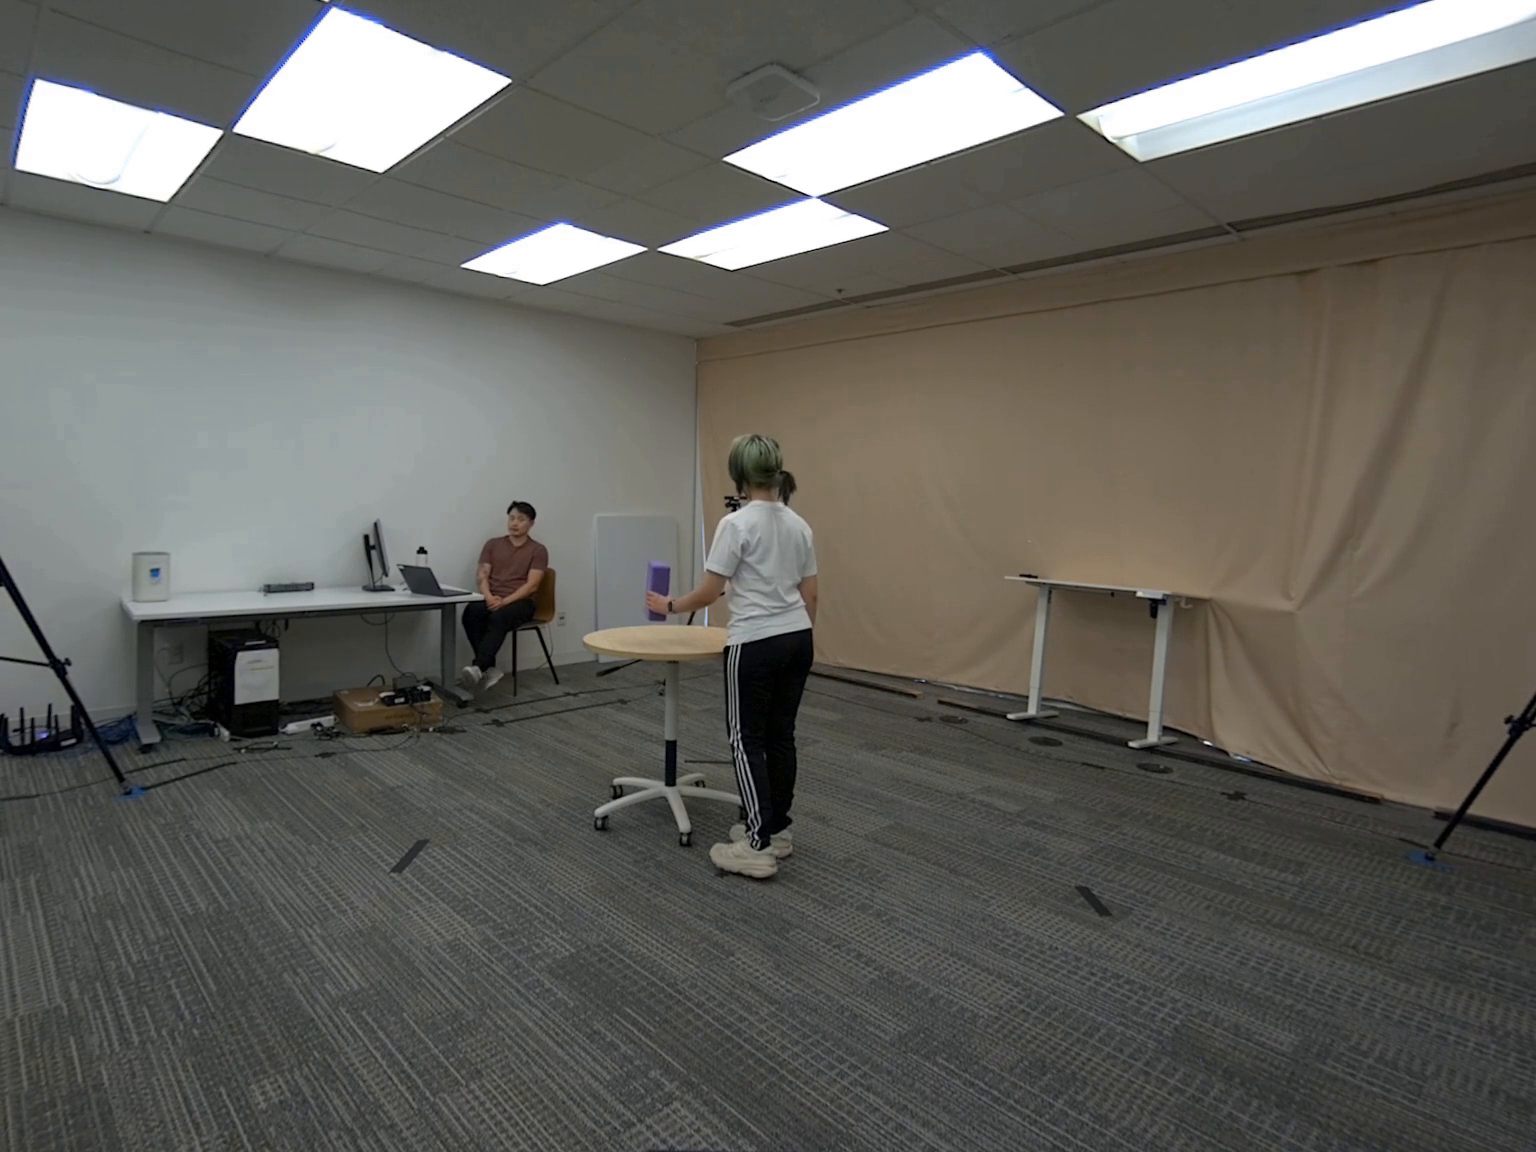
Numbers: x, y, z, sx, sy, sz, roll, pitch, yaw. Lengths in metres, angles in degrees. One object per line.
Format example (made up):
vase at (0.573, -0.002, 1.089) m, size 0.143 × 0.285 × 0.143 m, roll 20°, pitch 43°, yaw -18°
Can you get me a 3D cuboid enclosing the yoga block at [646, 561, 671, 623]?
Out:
yoga block at (-0.461, 0.066, 3.476) m, size 0.076 × 0.228 × 0.150 m, roll 4°, pitch 5°, yaw -8°
